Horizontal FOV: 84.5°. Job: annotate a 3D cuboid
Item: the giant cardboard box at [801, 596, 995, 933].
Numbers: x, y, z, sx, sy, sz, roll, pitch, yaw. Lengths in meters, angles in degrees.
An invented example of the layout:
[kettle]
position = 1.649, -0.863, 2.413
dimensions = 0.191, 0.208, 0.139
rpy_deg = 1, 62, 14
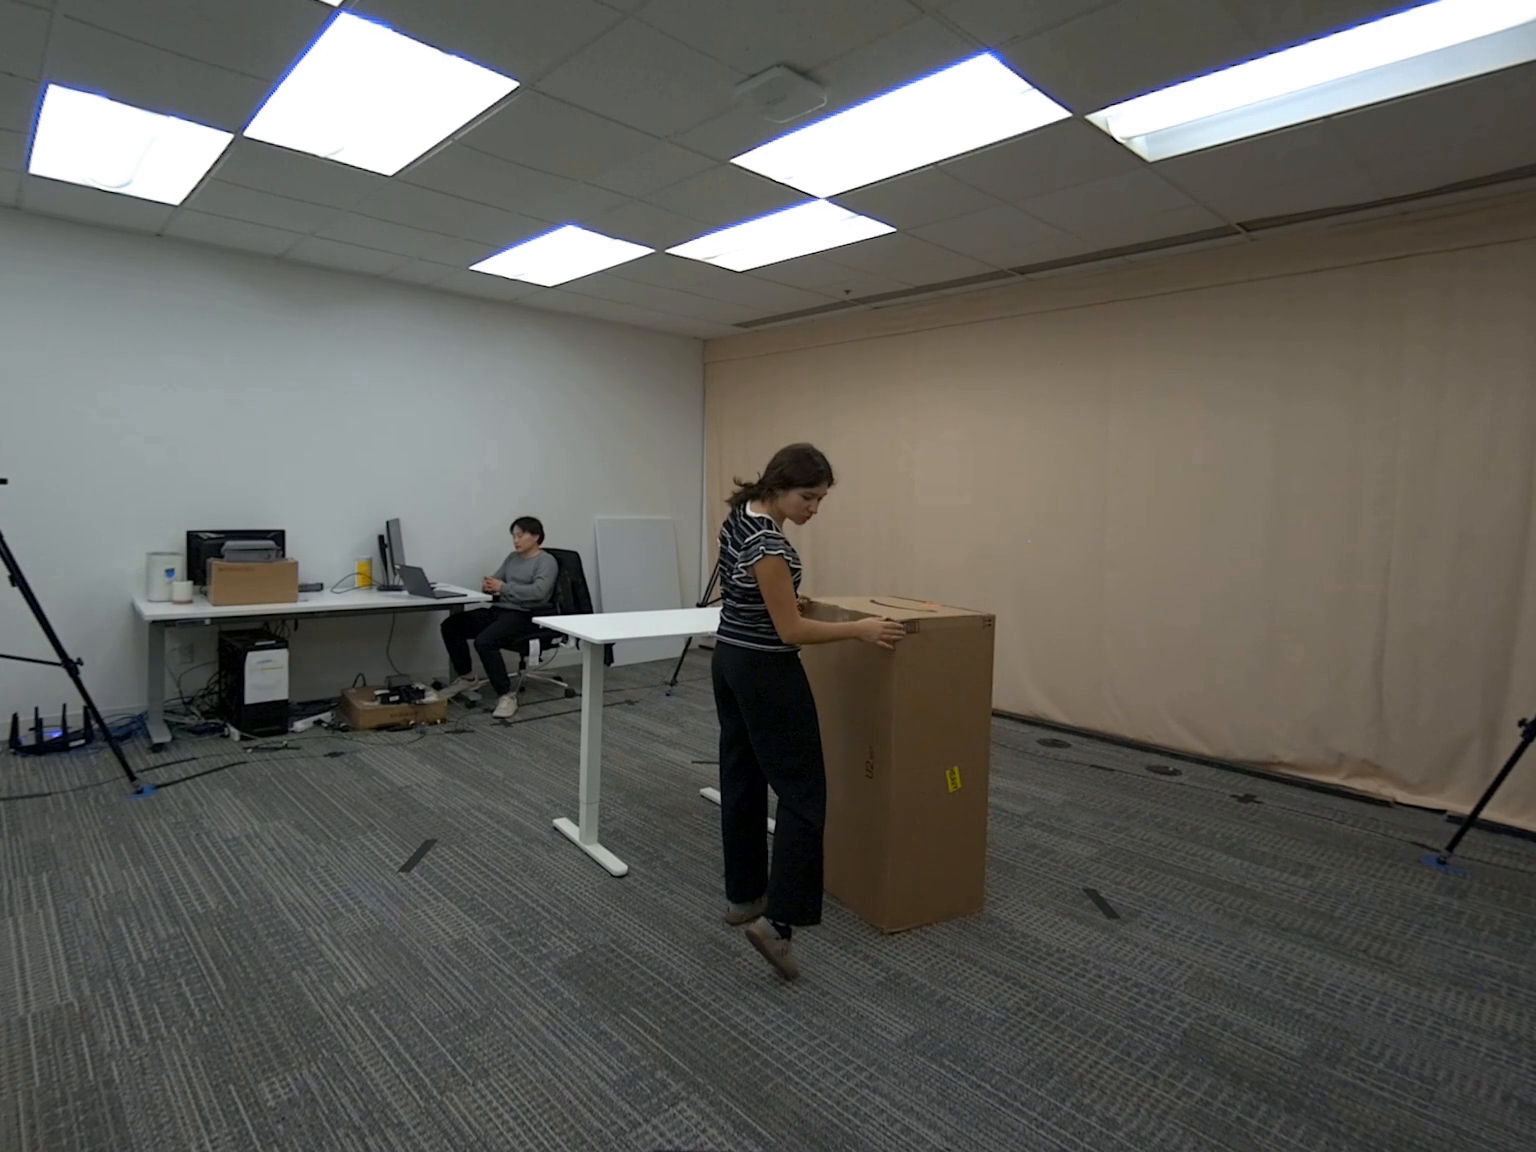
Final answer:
[giant cardboard box]
position = 0.428, 0.615, 3.031
dimensions = 0.418, 1.024, 0.590
rpy_deg = 0, 3, -29
